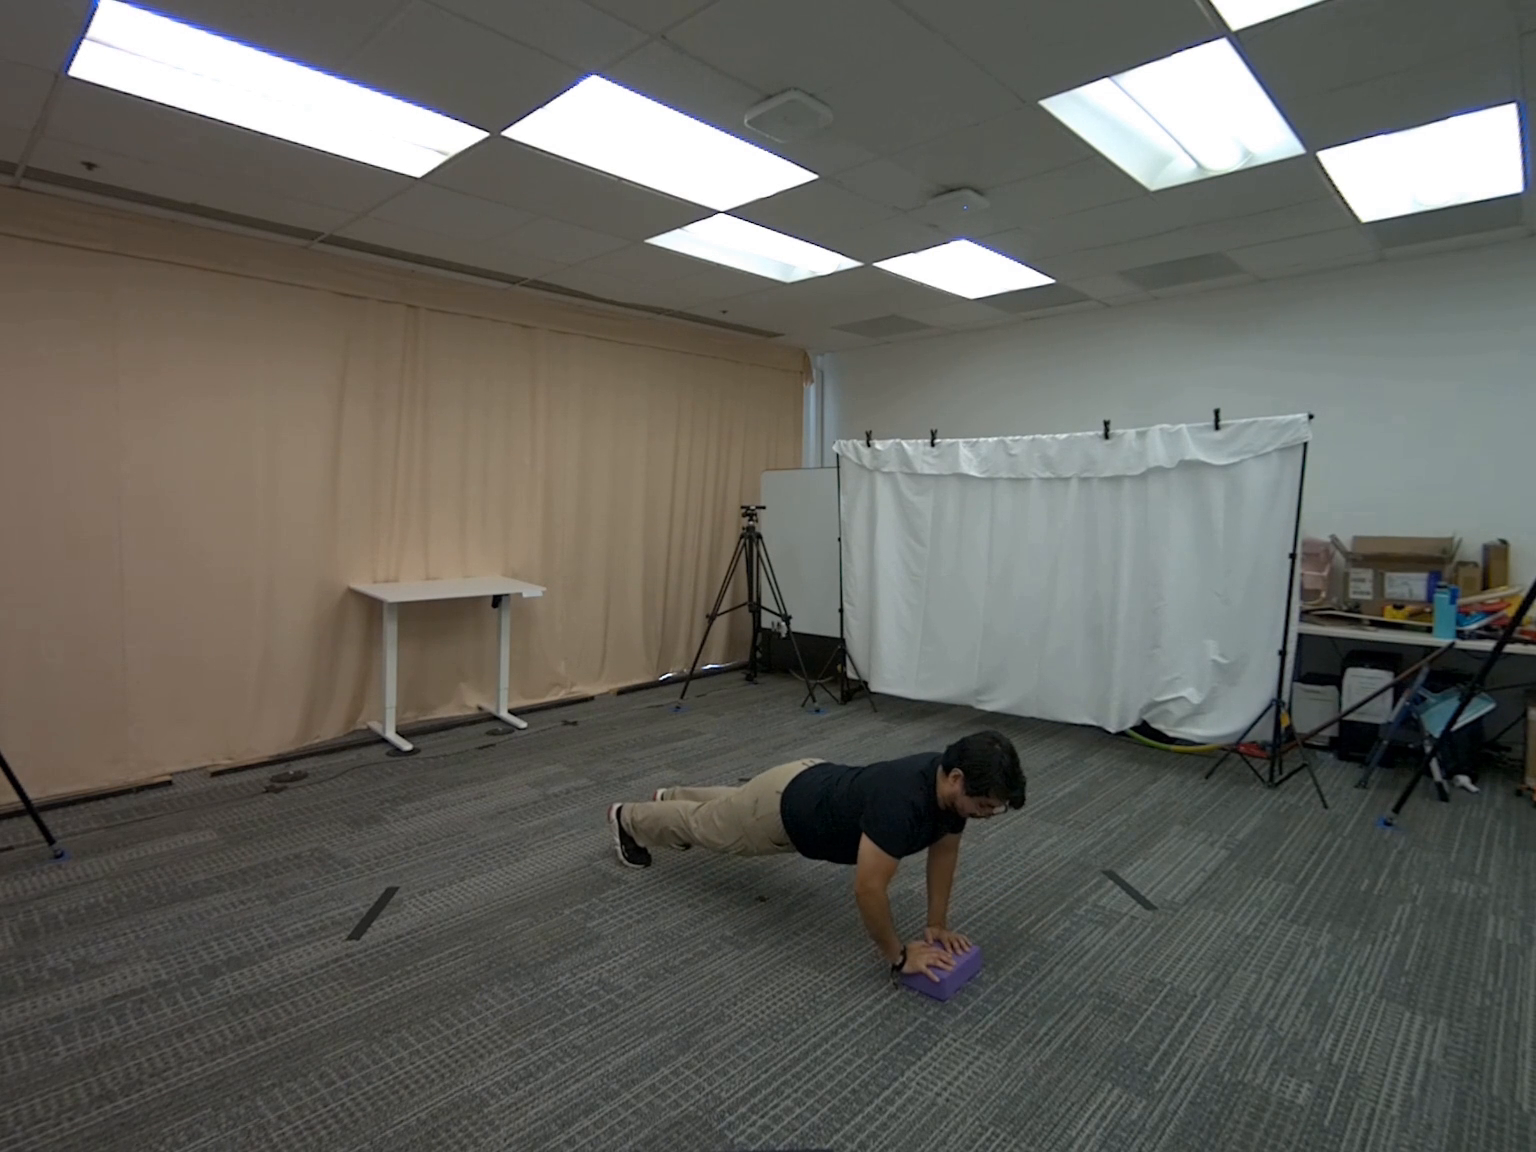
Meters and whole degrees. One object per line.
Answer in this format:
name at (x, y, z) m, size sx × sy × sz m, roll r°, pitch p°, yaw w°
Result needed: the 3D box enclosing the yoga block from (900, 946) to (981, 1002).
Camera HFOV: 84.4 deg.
yoga block at (0.515, 1.149, 2.480) m, size 0.154 × 0.076 × 0.222 m, roll 5°, pitch 7°, yaw 41°
